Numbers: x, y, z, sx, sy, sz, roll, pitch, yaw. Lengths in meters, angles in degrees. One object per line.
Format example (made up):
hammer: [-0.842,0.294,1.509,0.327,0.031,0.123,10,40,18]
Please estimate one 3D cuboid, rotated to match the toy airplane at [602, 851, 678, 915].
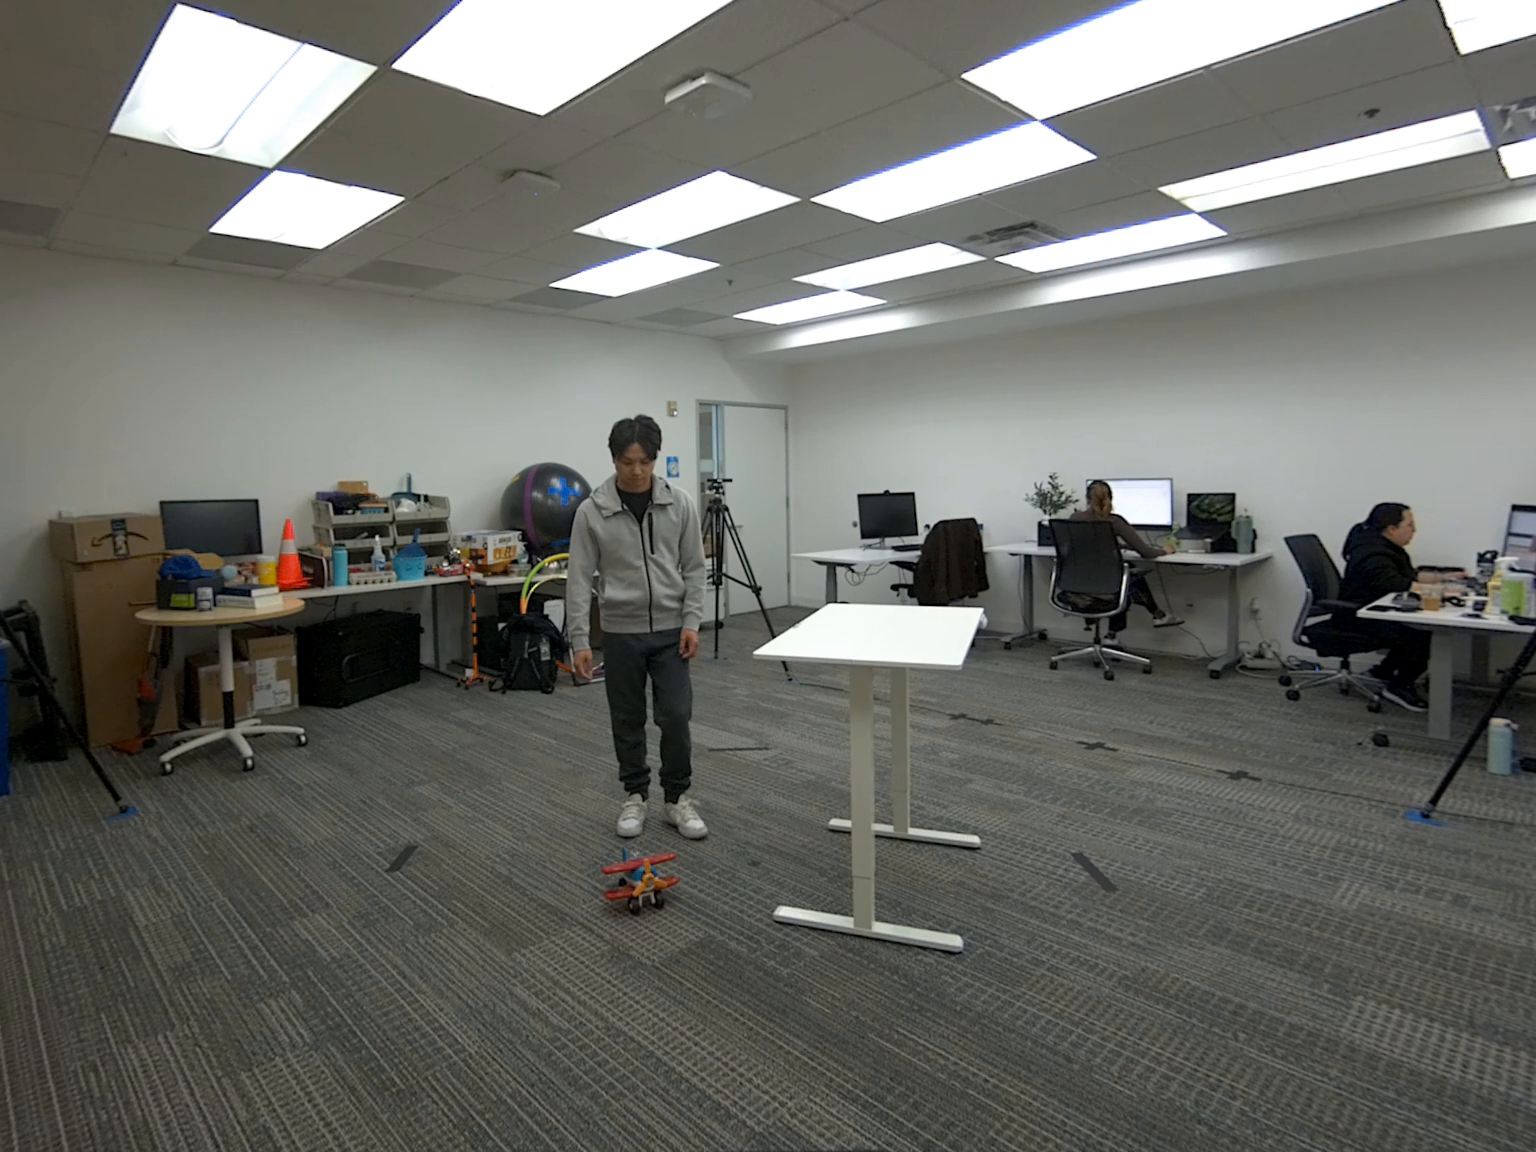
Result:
toy airplane: [-0.450,1.009,2.844,0.267,0.155,0.245,6,10,35]
